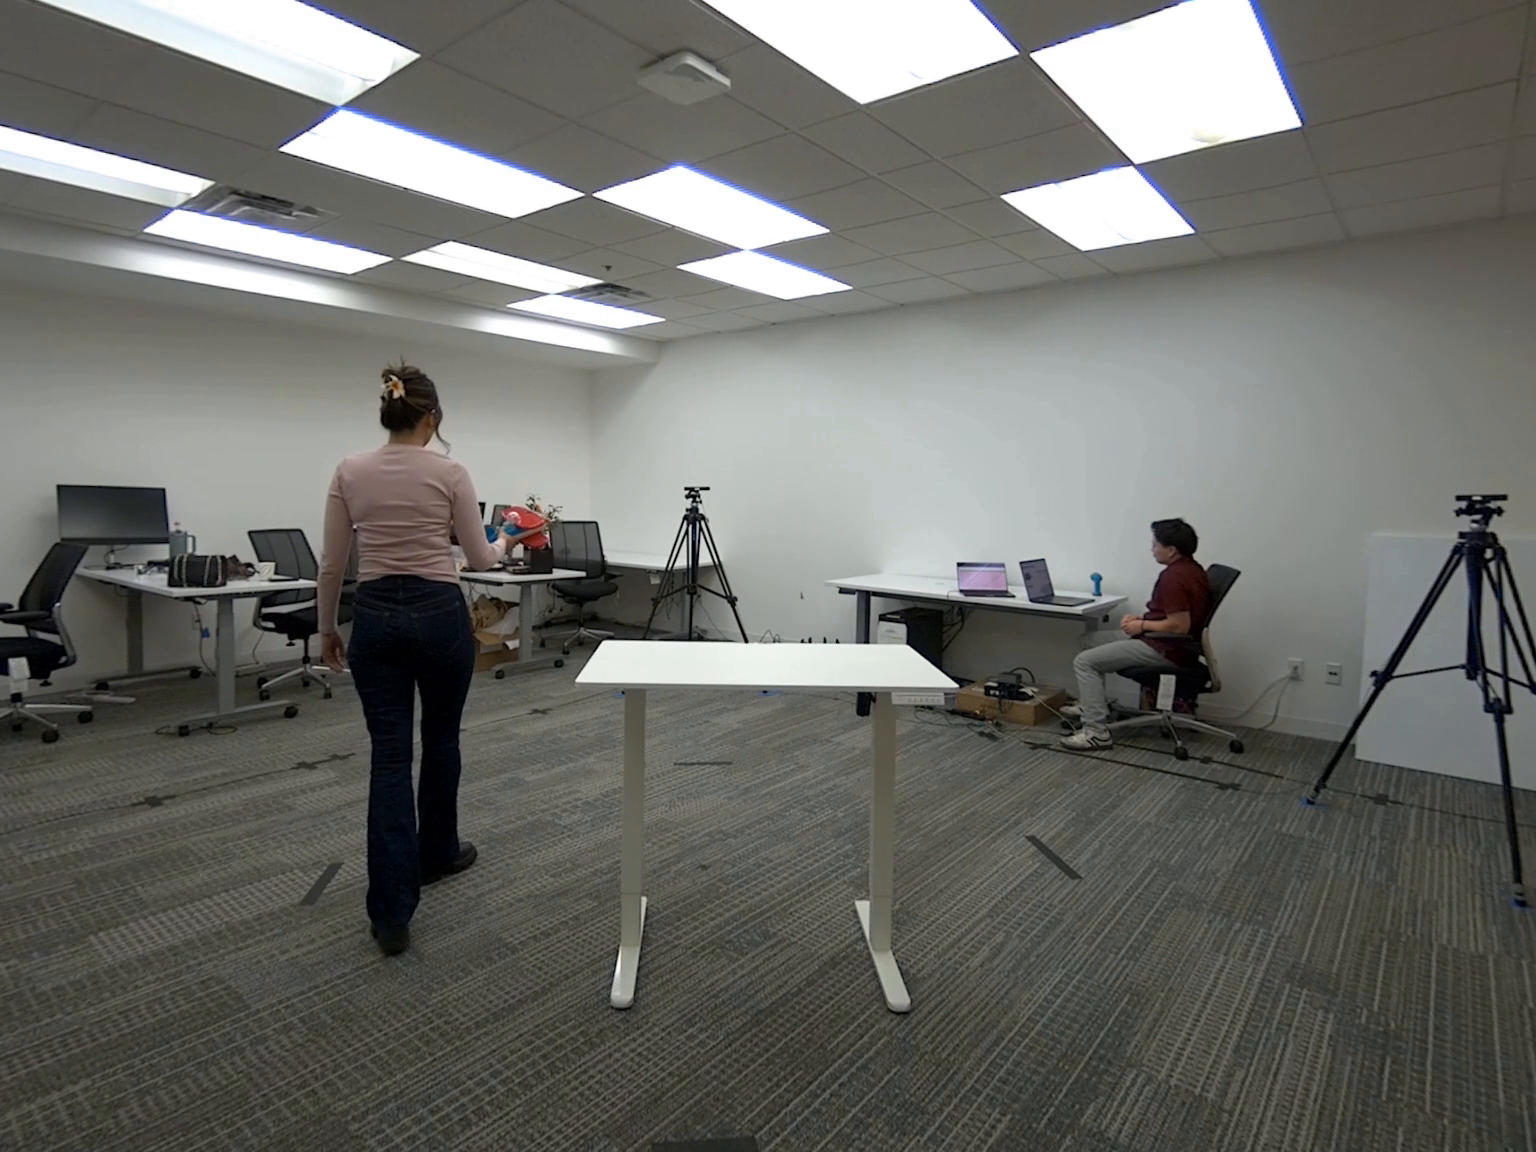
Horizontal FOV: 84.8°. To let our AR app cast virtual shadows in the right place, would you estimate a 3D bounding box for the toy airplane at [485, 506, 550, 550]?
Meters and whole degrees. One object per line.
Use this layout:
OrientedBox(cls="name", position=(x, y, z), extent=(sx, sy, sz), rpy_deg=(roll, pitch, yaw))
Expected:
OrientedBox(cls="toy airplane", position=(-0.947, -0.158, 3.199), extent=(0.257, 0.154, 0.257), rpy_deg=(11, 20, 18))
